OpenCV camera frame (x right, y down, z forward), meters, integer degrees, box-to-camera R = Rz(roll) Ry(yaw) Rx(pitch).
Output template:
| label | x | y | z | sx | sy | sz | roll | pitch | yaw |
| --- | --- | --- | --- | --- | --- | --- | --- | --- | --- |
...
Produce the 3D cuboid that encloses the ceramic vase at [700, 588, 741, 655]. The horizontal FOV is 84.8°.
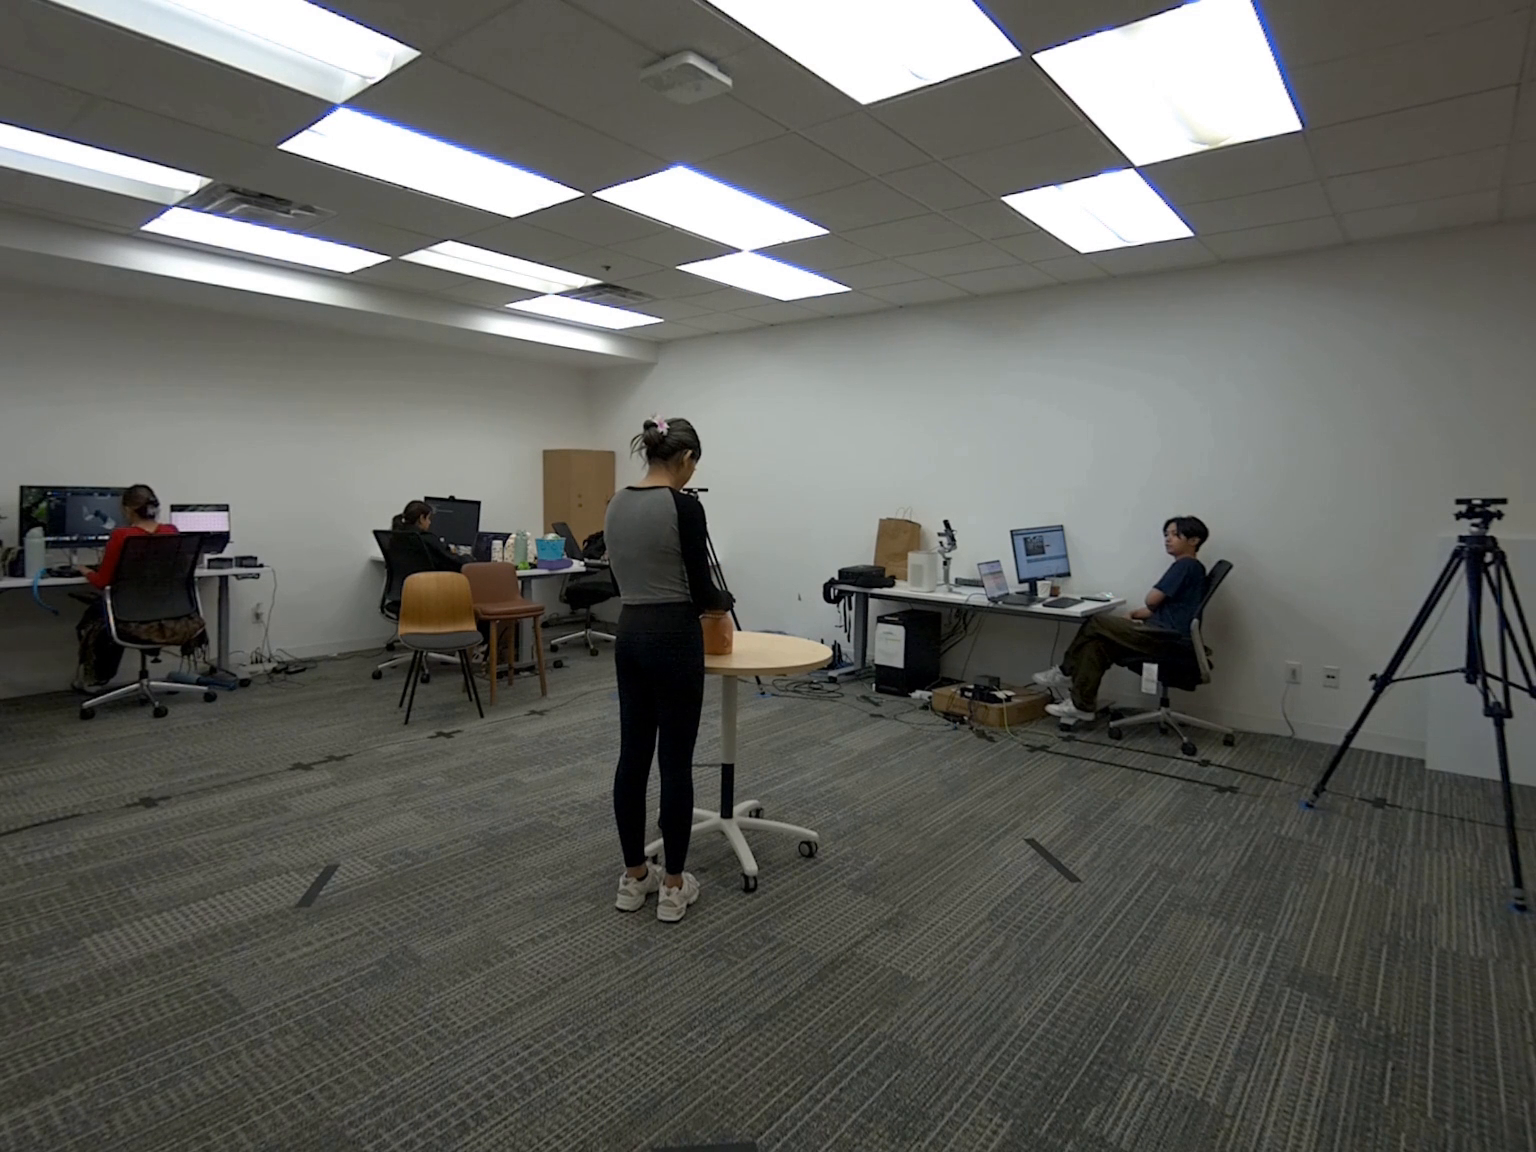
| label | x | y | z | sx | sy | sz | roll | pitch | yaw |
| --- | --- | --- | --- | --- | --- | --- | --- | --- | --- |
| ceramic vase | -0.206 | 0.165 | 3.109 | 0.162 | 0.219 | 0.133 | -1 | 5 | 18 |
